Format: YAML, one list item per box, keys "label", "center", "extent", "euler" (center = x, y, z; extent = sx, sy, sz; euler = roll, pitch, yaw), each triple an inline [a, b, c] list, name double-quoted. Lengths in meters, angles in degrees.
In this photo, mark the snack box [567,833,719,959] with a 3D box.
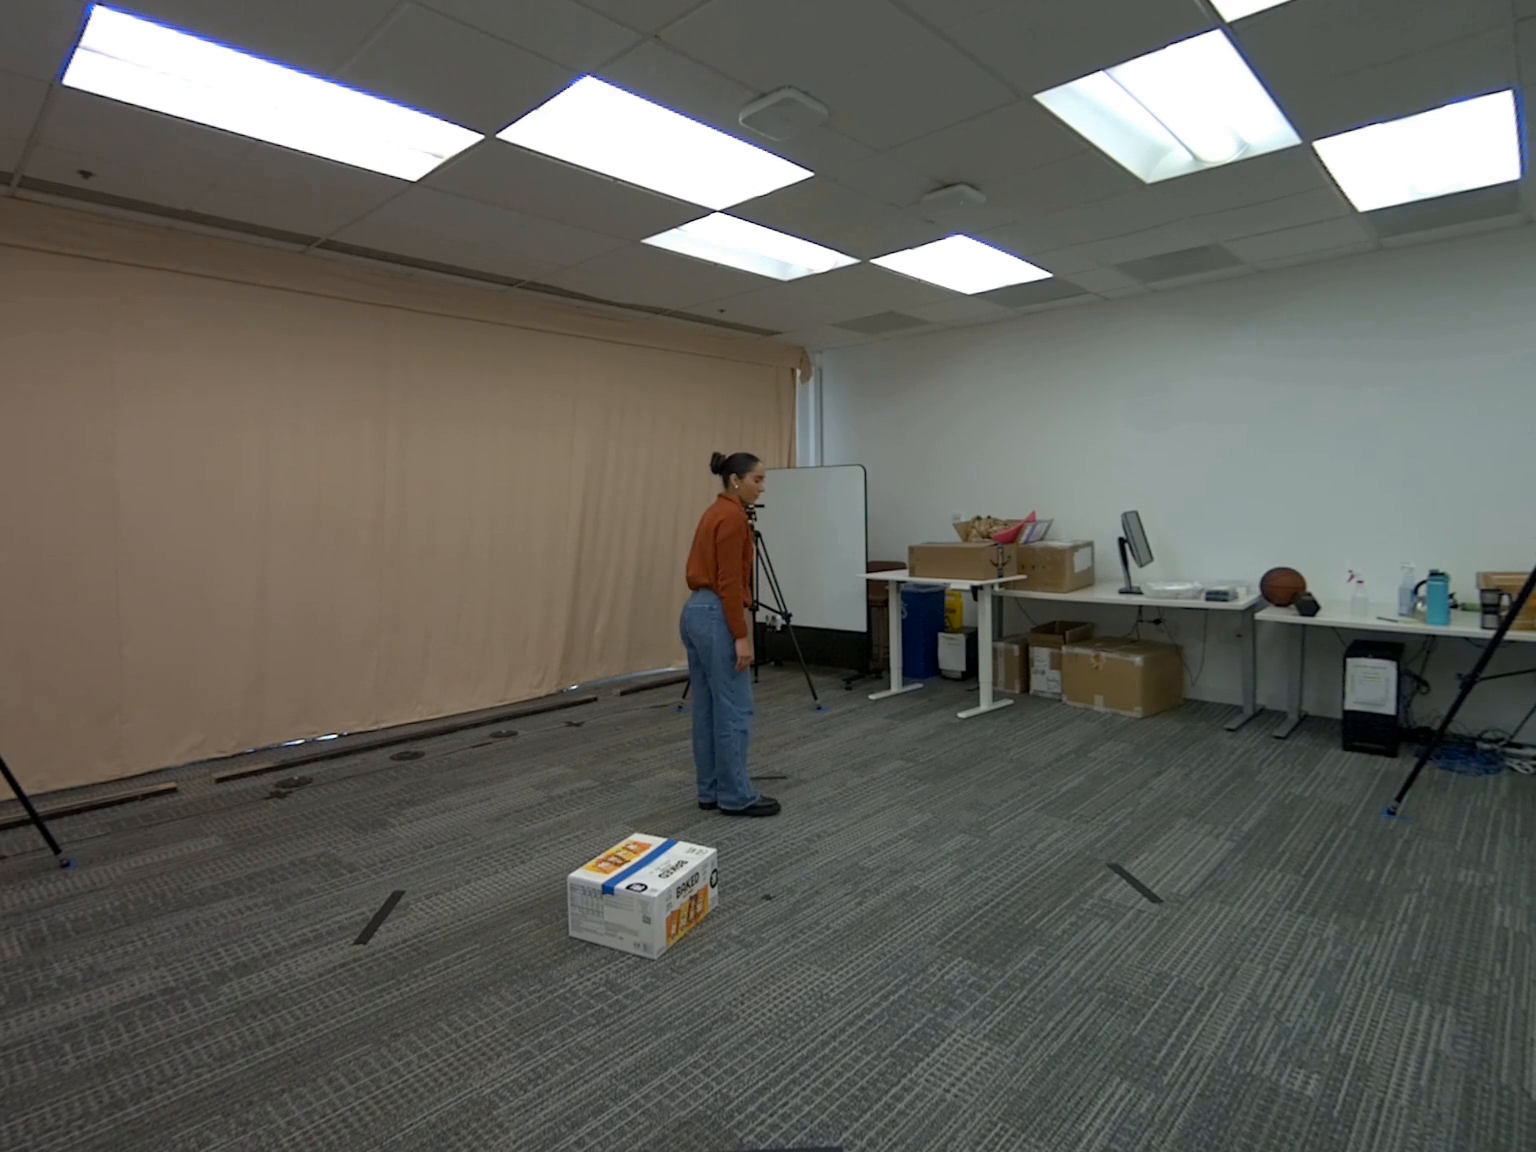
- label: "snack box"
  center: [-0.413, 1.056, 2.828]
  extent: [0.349, 0.205, 0.395]
  euler: [1, 5, 27]
